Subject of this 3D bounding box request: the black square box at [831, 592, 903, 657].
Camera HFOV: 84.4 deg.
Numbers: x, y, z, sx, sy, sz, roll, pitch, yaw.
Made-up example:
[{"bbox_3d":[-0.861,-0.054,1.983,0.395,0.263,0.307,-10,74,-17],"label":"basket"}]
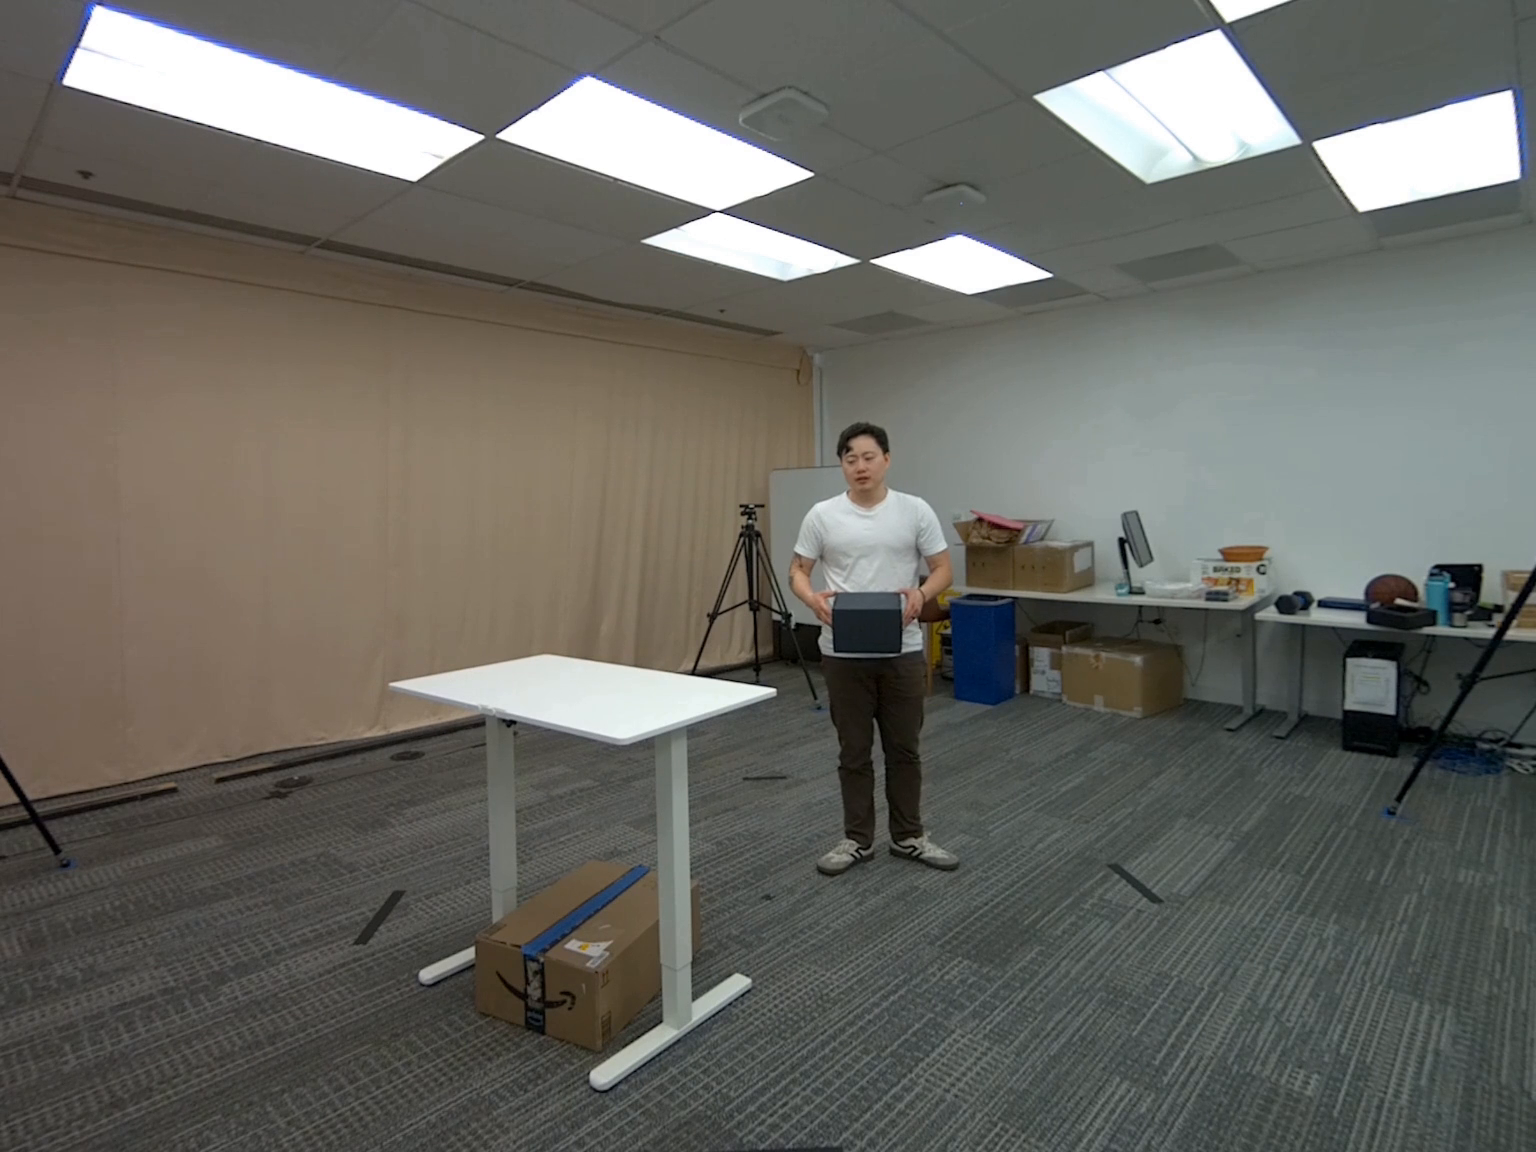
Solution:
[{"bbox_3d":[0.343,0.155,2.889,0.230,0.155,0.217,-1,12,7],"label":"black square box"}]
